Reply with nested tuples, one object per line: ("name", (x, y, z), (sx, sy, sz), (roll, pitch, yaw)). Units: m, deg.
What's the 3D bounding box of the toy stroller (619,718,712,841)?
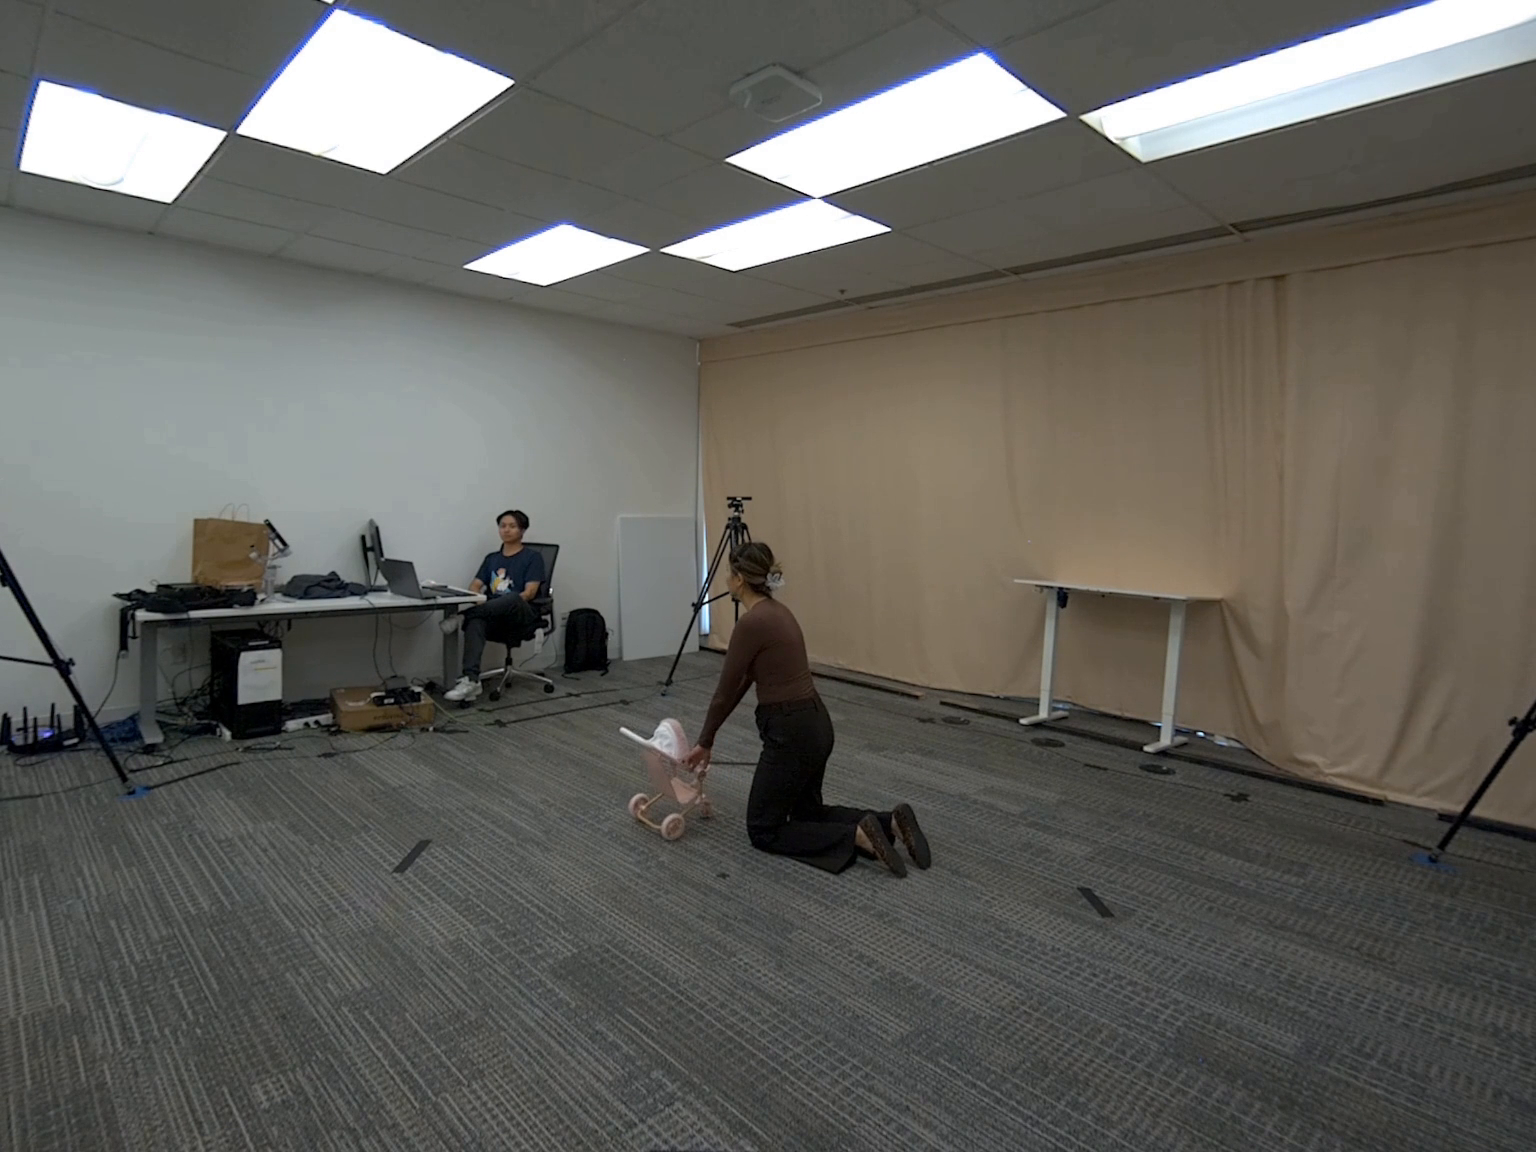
("toy stroller", (-0.409, 0.827, 3.537), (0.336, 0.529, 0.289), (-17, 17, -33))
